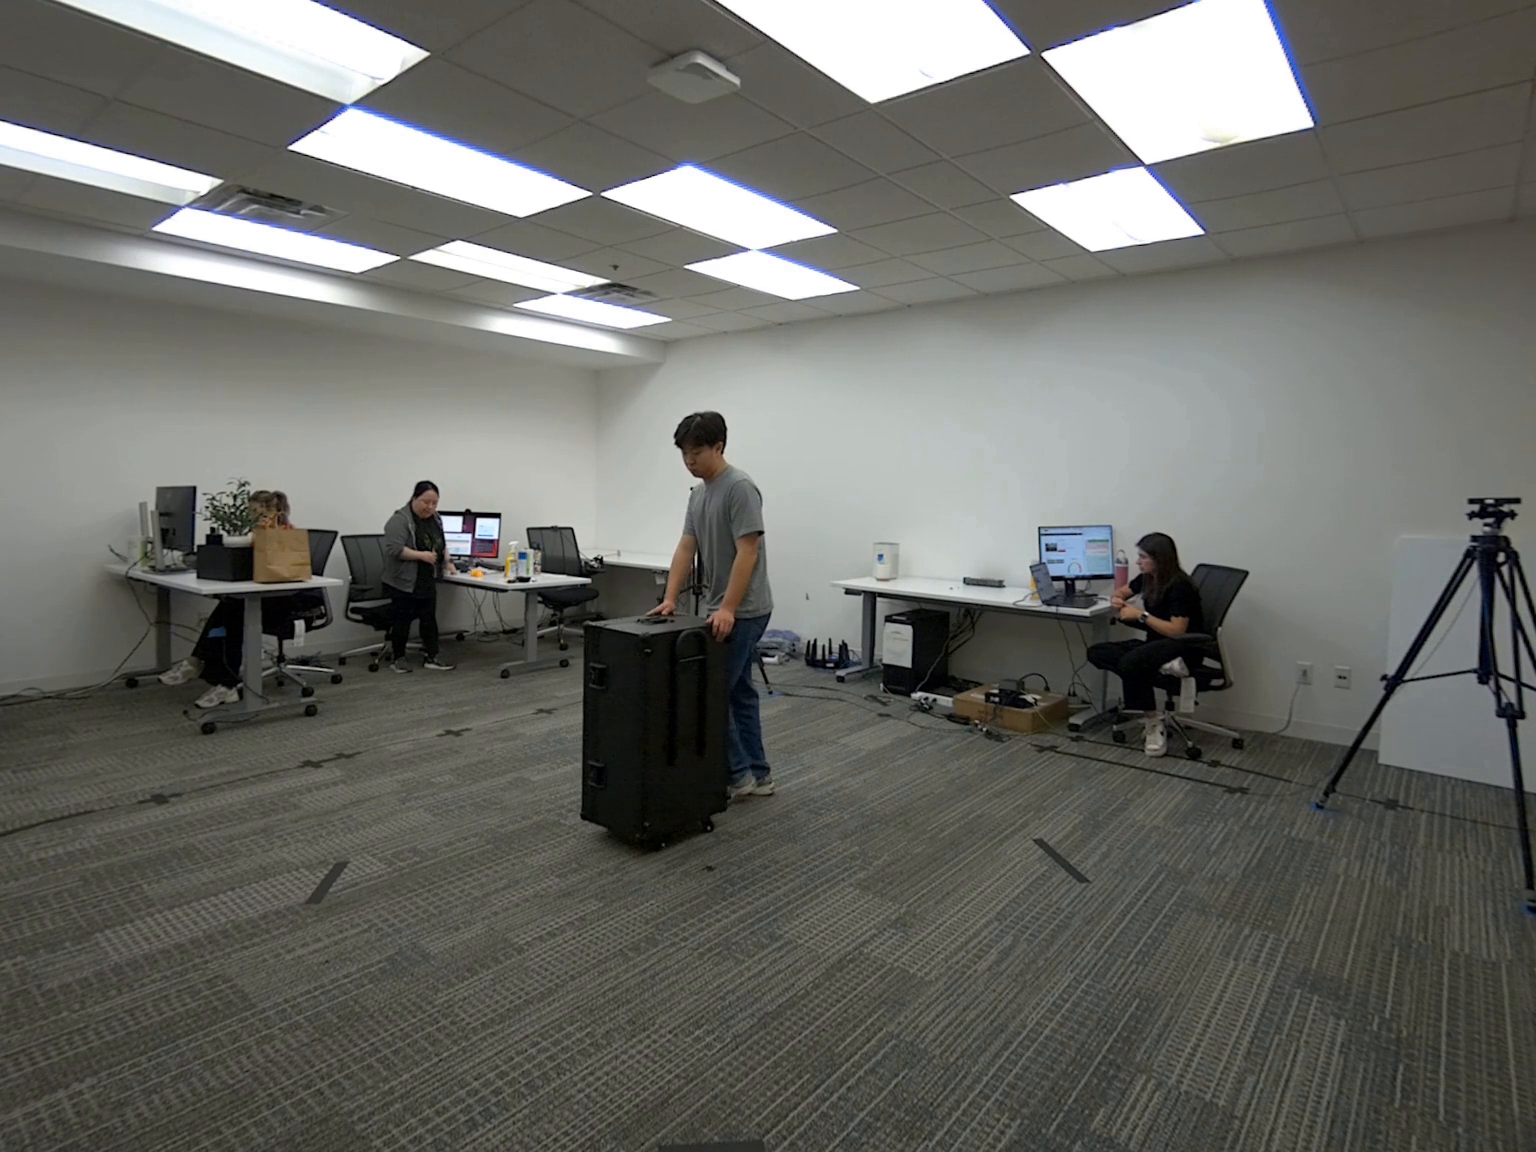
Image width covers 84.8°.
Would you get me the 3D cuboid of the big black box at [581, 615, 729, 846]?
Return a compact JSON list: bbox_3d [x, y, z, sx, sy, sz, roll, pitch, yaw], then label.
[{"bbox_3d":[-0.450,0.611,3.403,0.410,0.859,0.505,5,5,41],"label":"big black box"}]
